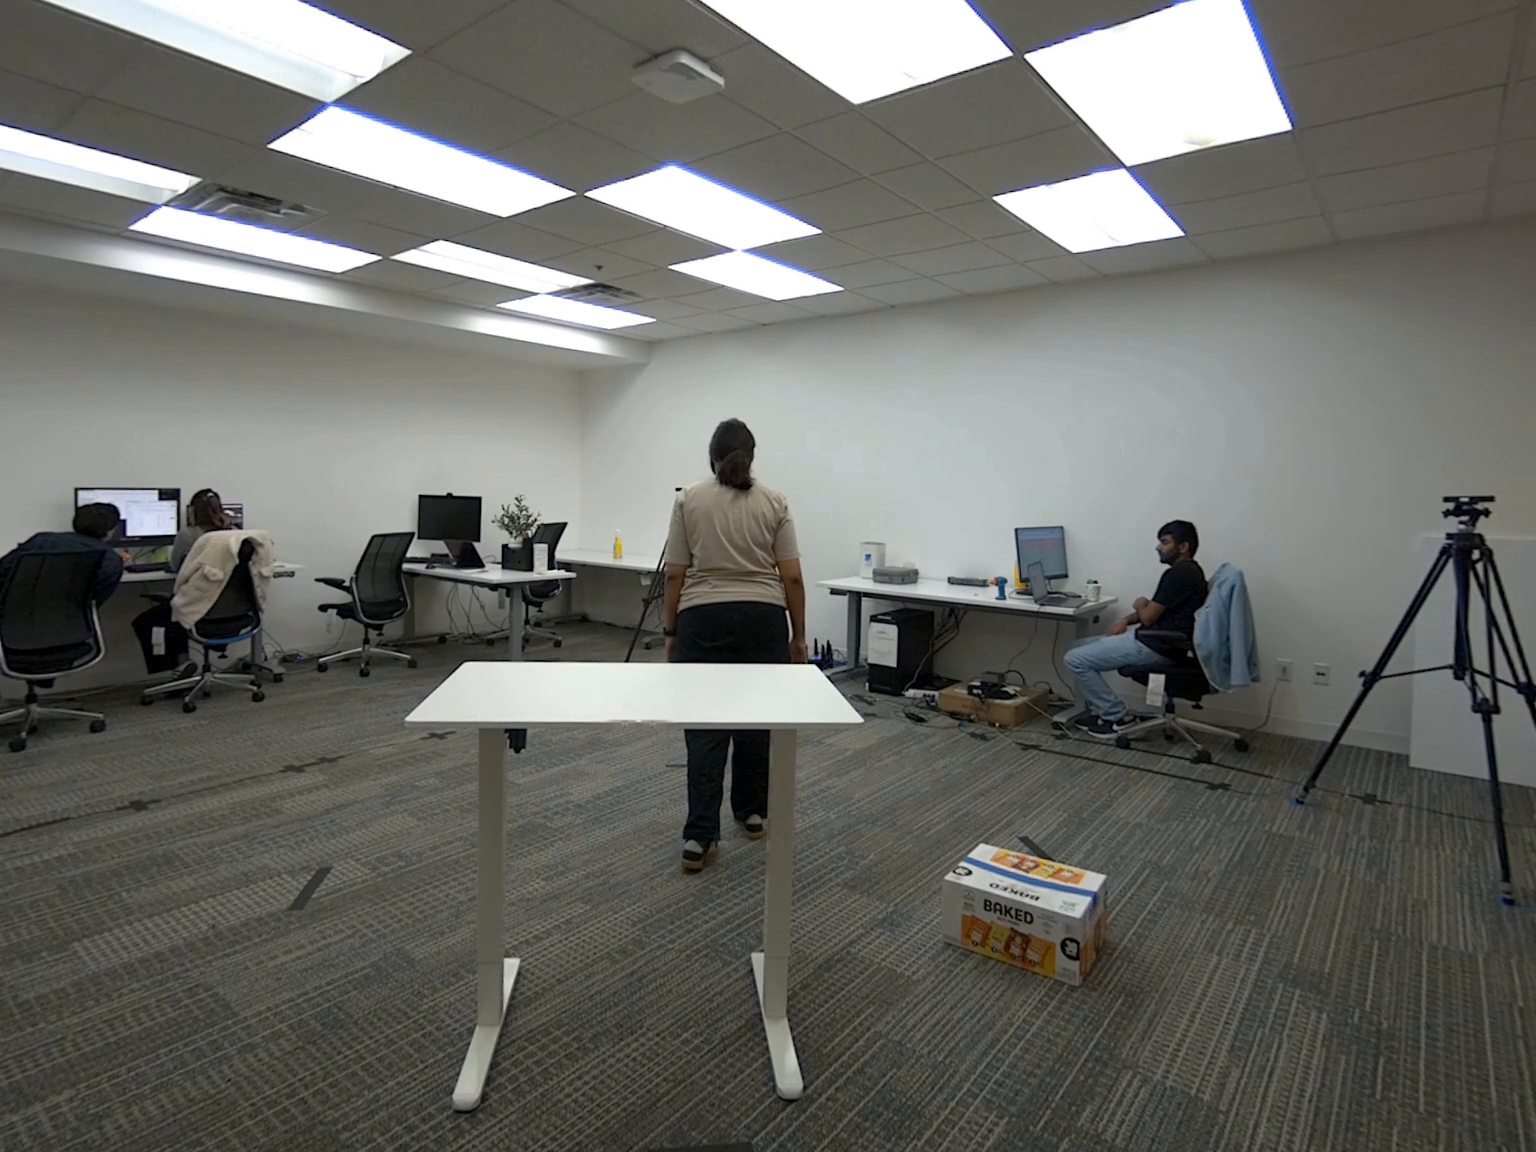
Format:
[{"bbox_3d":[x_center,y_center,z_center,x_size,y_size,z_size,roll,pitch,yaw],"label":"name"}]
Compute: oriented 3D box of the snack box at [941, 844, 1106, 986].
[{"bbox_3d":[0.796,1.034,2.650,0.418,0.205,0.331,4,5,34],"label":"snack box"}]
